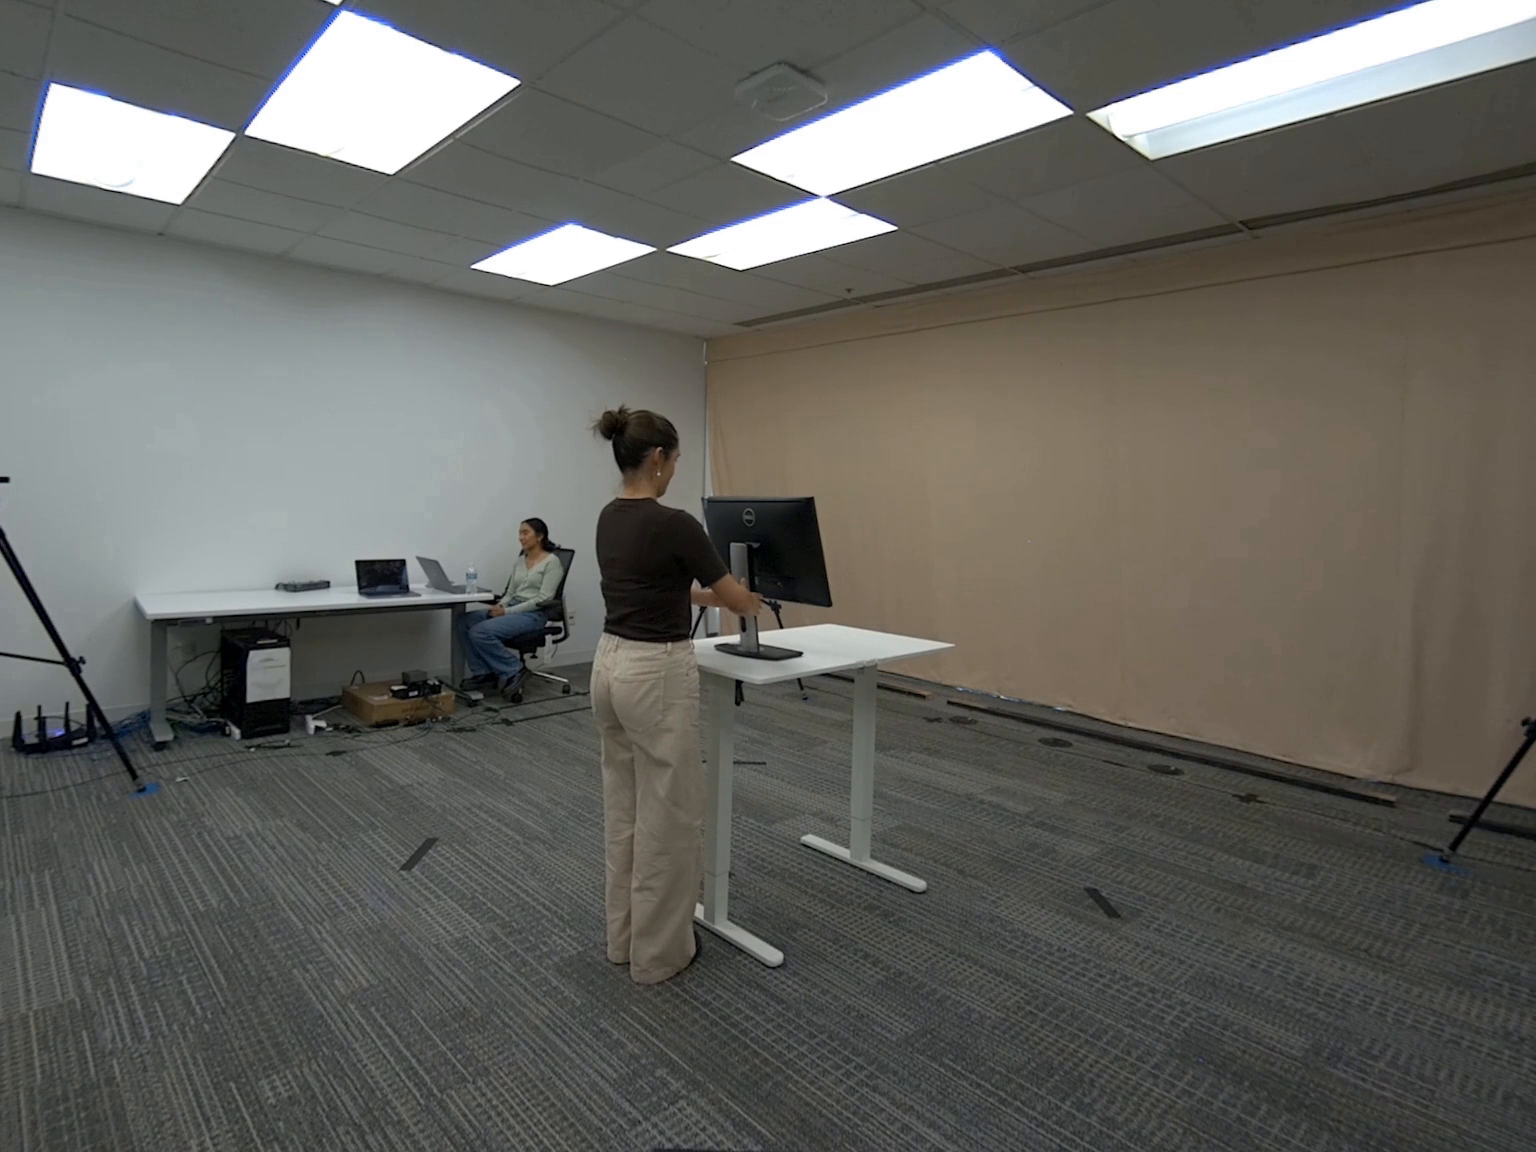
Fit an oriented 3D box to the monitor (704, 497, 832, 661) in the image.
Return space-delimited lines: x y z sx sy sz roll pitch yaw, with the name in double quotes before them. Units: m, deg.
"monitor" -0.041 0.003 2.738 0.183 0.521 0.553 -4 6 -43
